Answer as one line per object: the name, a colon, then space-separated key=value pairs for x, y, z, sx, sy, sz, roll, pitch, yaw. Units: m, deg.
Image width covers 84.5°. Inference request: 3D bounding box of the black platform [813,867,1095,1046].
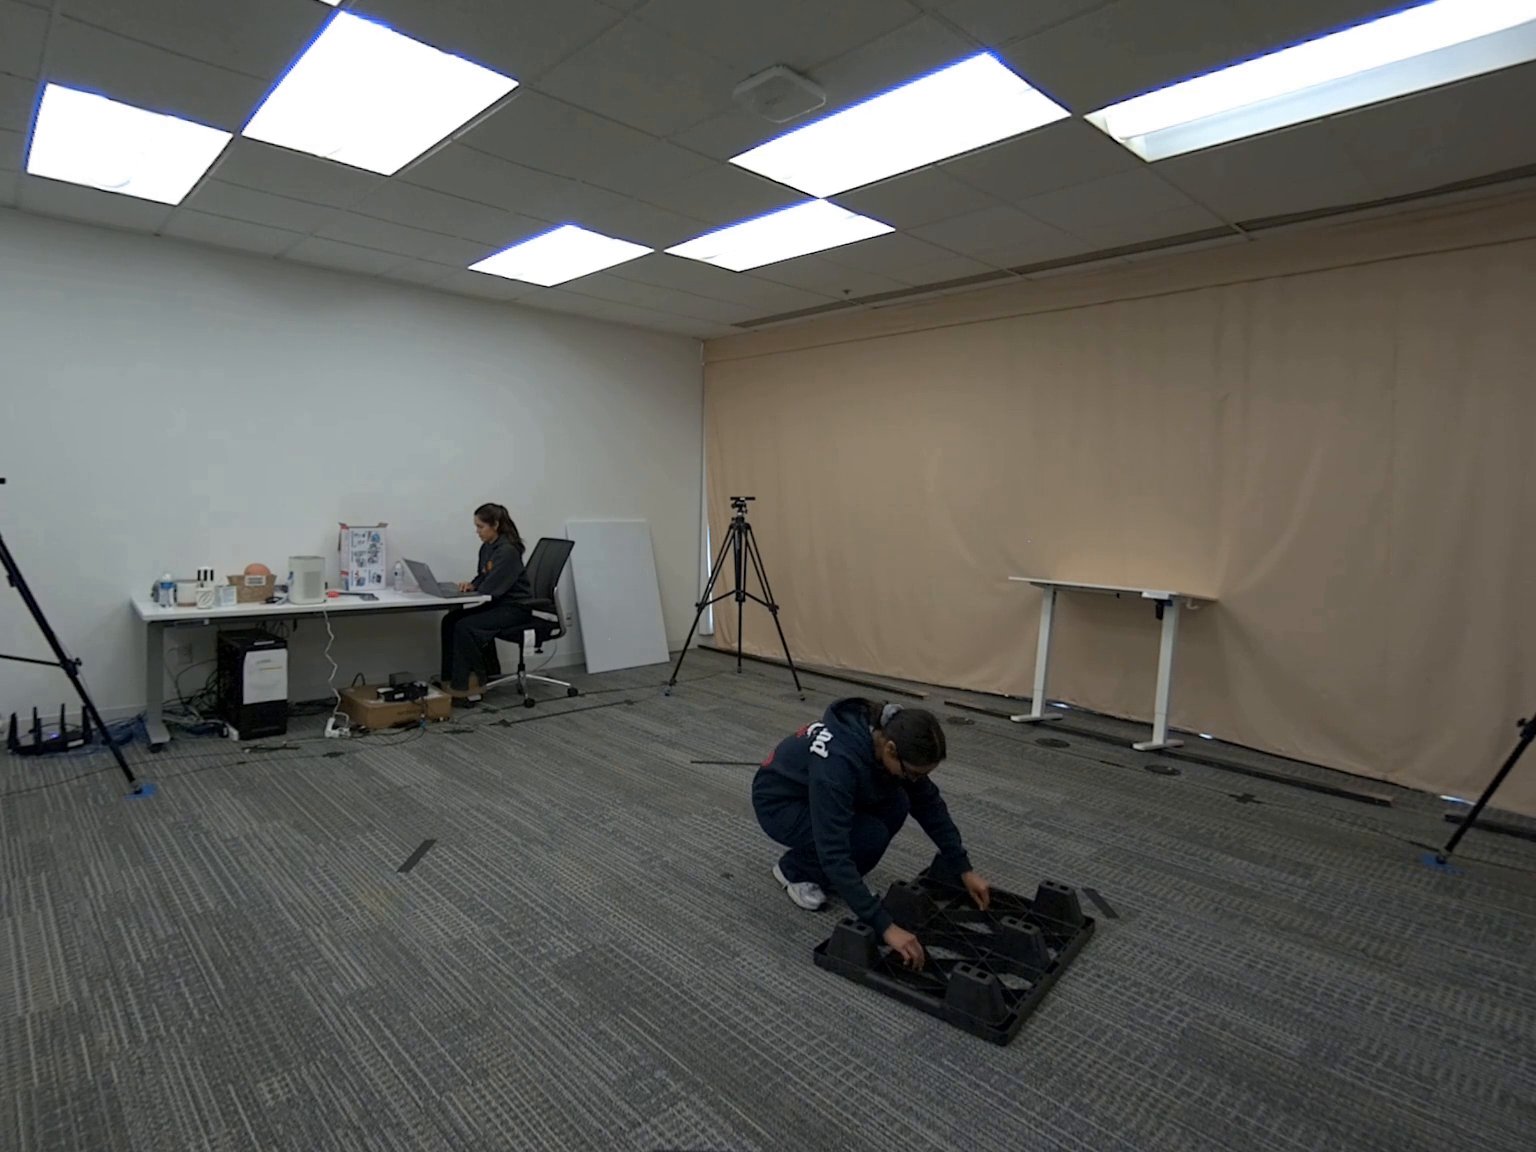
black platform: x=0.606 y=1.105 z=2.654 sx=0.620 sy=0.143 sz=0.788 roll=6 pitch=7 yaw=37
